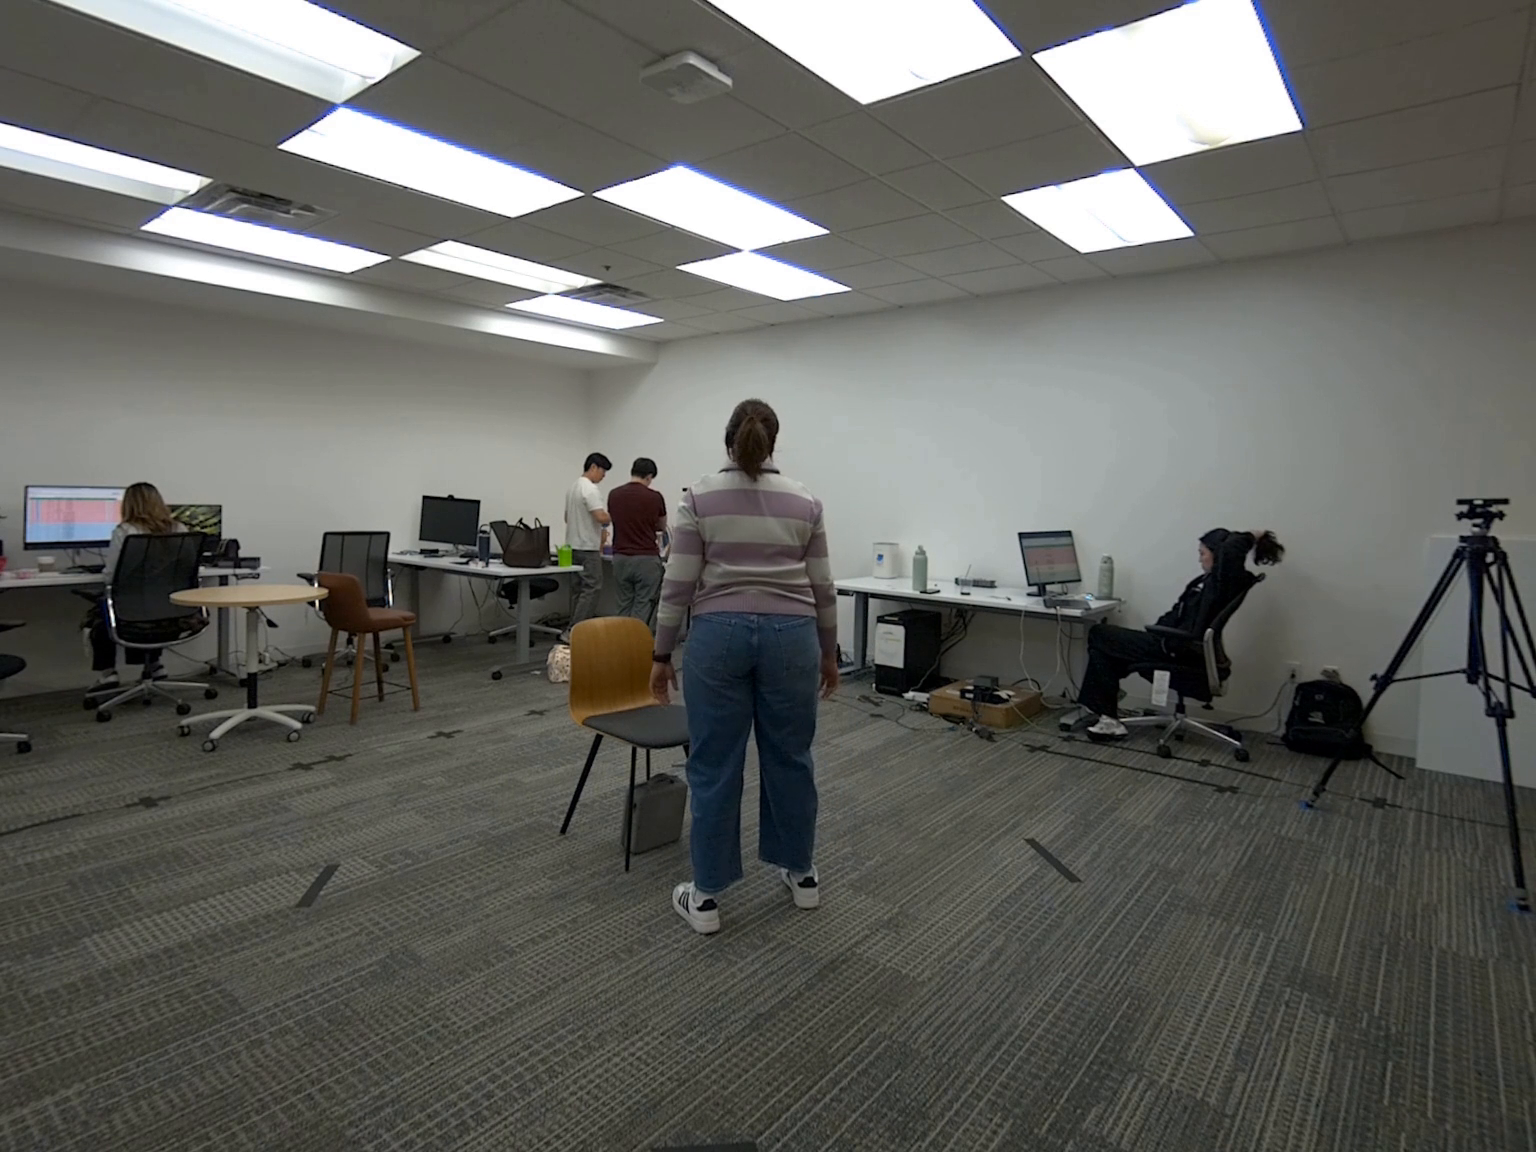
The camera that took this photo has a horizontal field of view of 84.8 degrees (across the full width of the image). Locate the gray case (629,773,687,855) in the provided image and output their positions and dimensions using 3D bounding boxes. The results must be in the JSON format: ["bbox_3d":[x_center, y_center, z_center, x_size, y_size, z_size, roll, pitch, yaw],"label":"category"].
[{"bbox_3d":[-0.448,0.919,3.313,0.249,0.258,0.108,-4,16,-45],"label":"gray case"}]
